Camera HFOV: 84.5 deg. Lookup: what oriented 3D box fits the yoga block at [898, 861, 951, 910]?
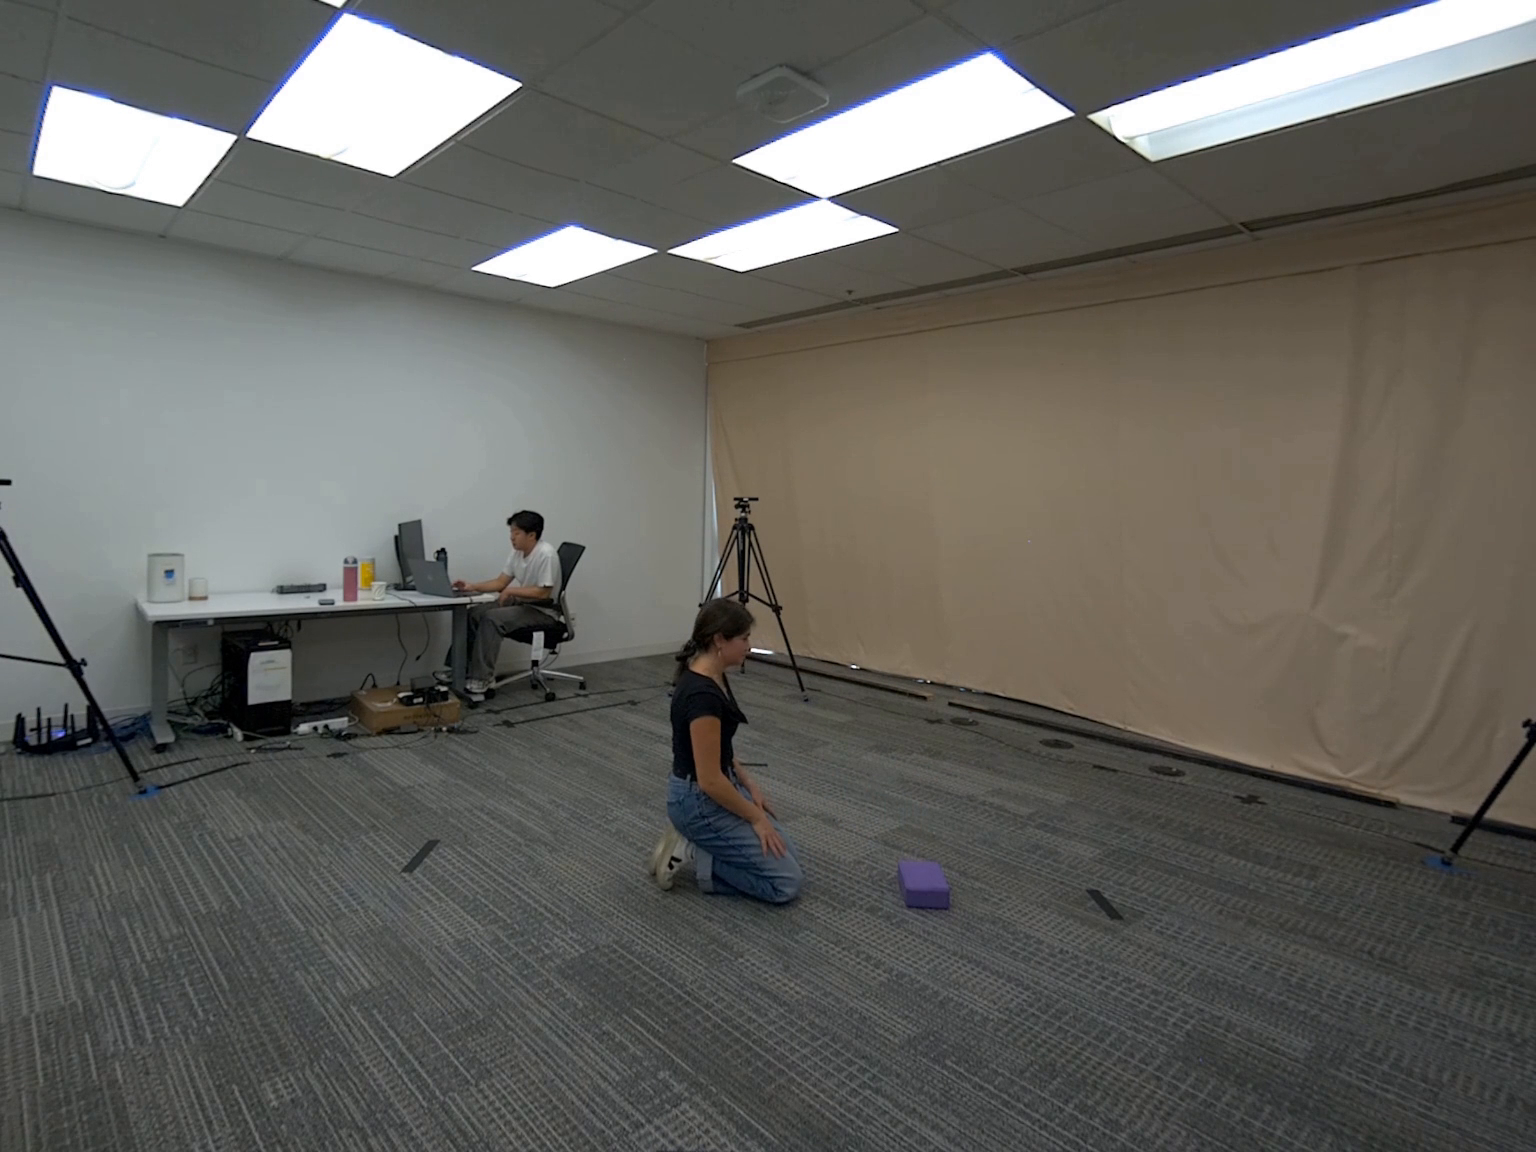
[{"bbox_3d":[0.539,1.094,2.992,0.149,0.076,0.229,0,5,3],"label":"yoga block"}]
